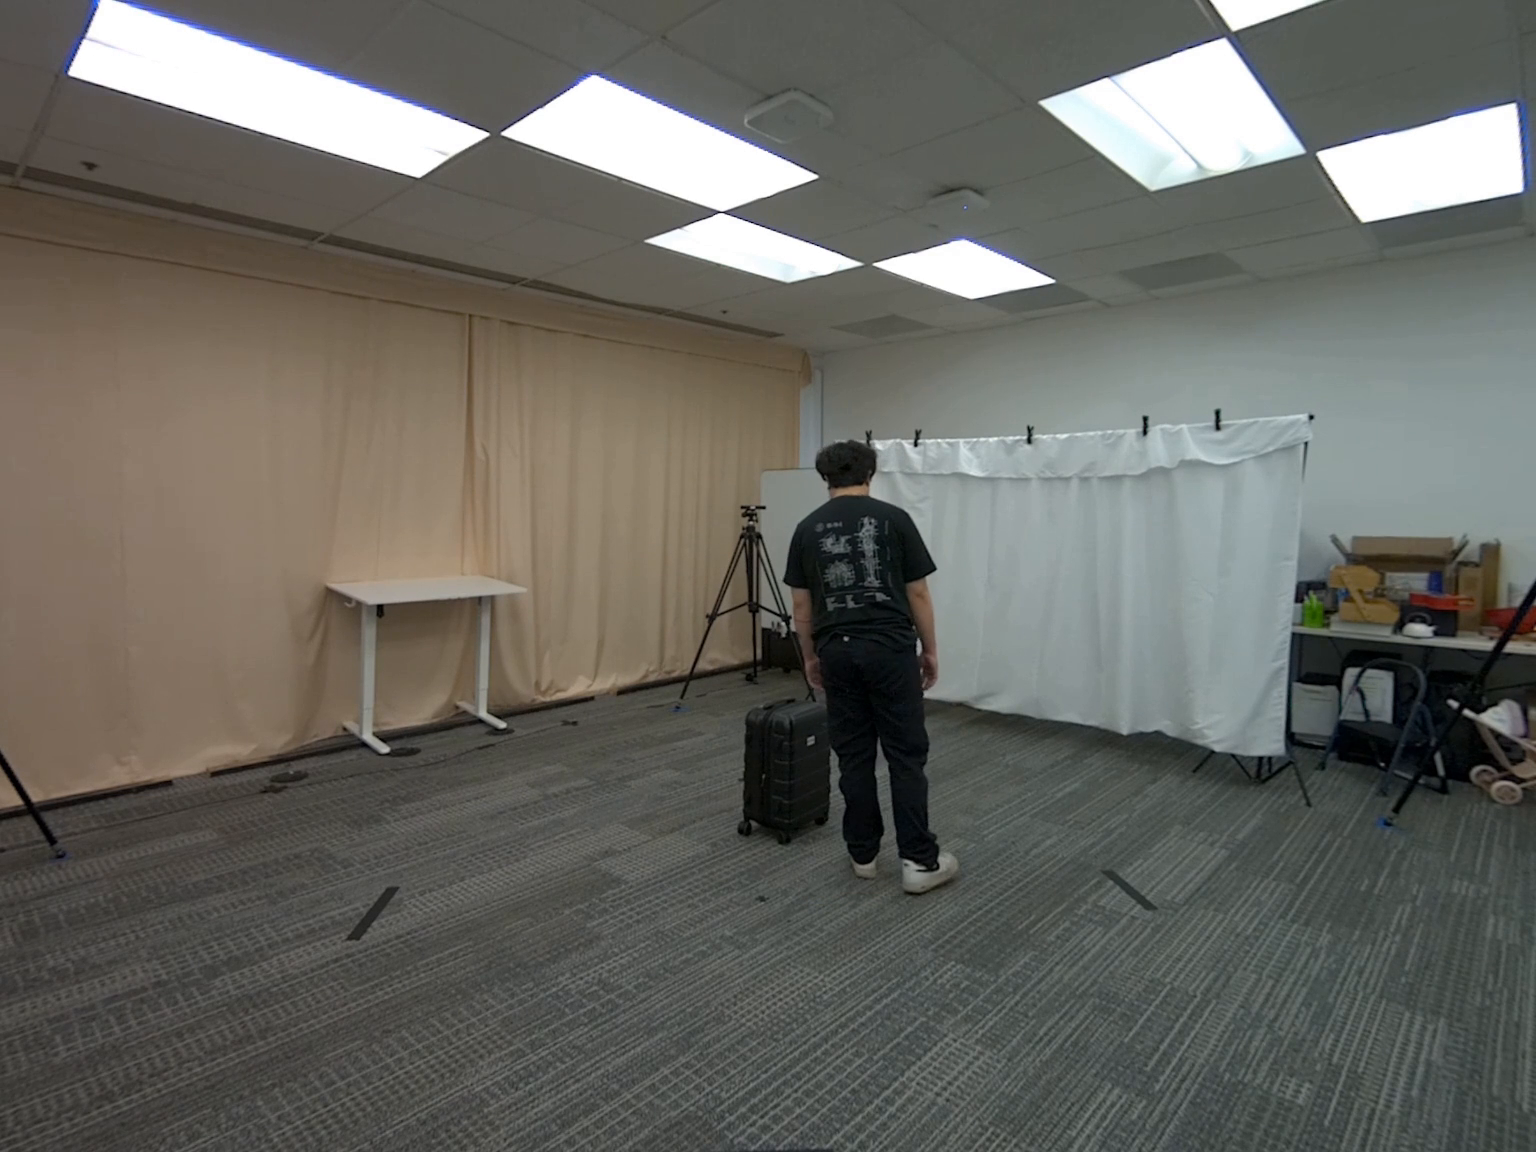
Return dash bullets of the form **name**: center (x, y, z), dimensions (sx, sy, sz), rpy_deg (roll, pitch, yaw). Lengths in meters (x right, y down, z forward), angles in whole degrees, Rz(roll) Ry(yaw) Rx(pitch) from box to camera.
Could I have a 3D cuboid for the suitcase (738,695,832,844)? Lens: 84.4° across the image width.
- **suitcase**: center (0.086, 0.814, 3.623), dimensions (0.256, 0.548, 0.364), rpy_deg (4, 4, 38)
